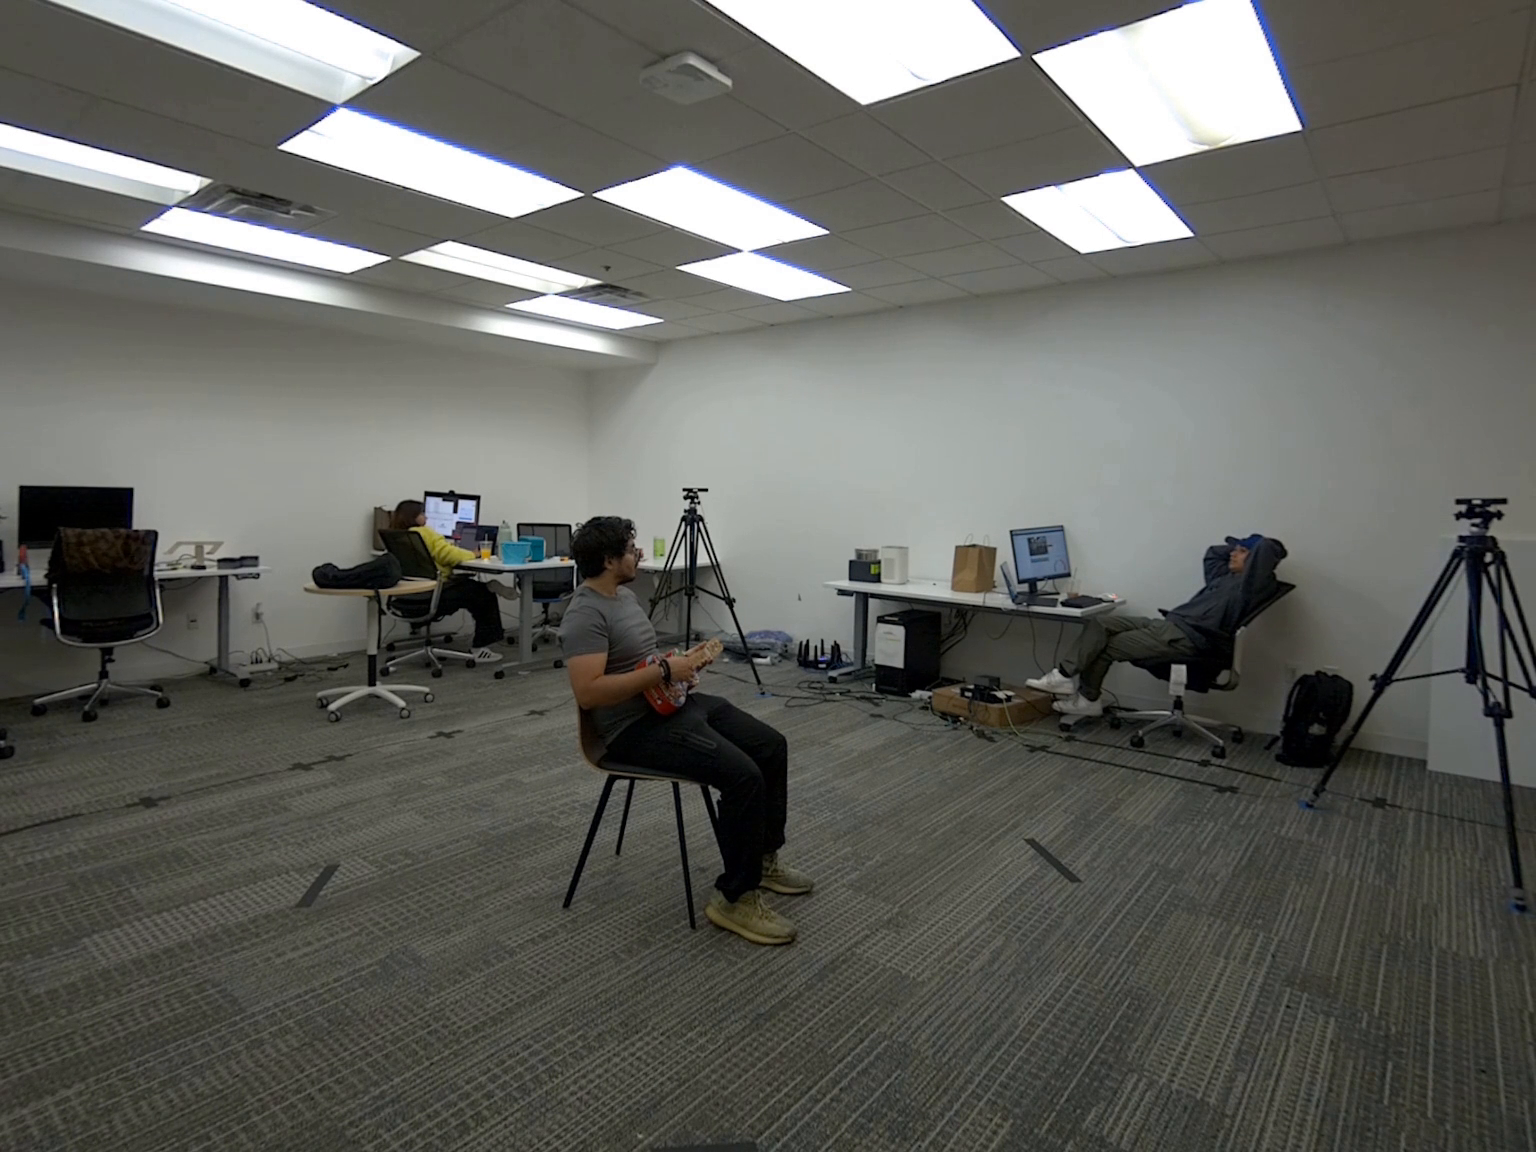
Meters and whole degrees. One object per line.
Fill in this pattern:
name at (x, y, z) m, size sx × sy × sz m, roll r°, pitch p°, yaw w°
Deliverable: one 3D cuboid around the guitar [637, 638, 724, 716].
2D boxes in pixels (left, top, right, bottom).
guitar at (-0.279, 0.338, 2.939) m, size 0.071 × 0.196 × 0.486 m, roll -38°, pitch -12°, yaw 23°
